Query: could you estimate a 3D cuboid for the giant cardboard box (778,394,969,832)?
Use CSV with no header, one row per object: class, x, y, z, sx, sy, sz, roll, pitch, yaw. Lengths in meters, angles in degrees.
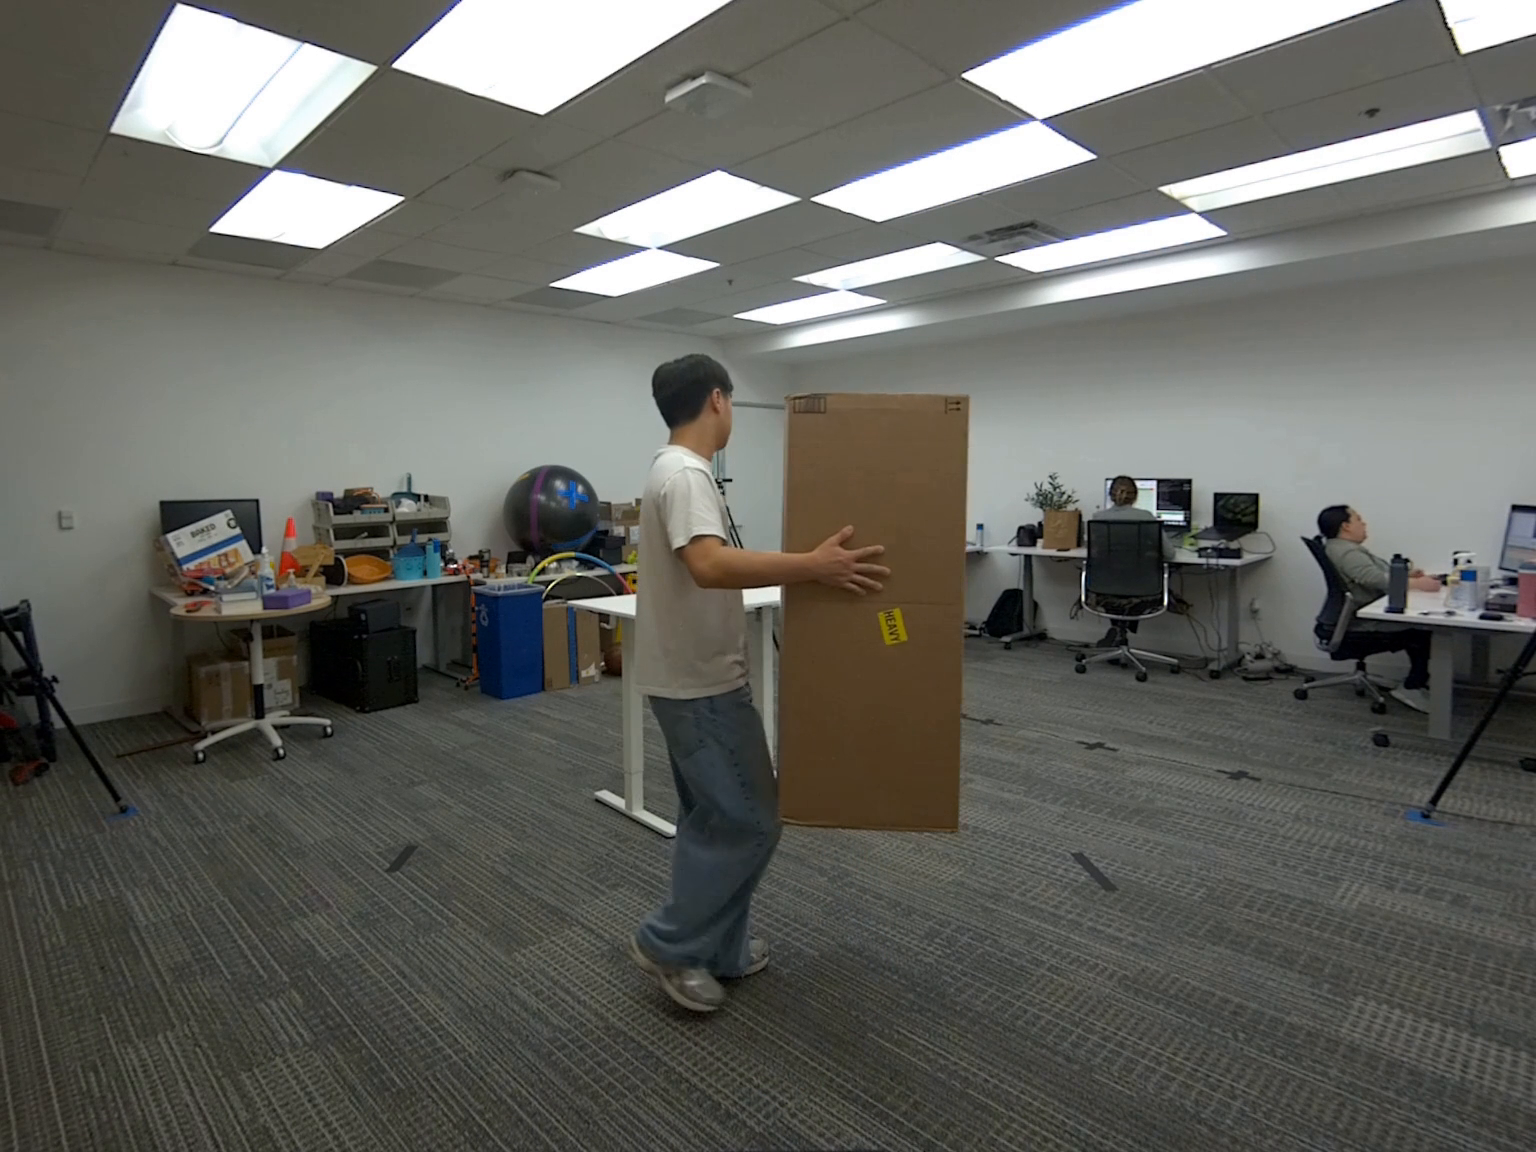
giant cardboard box,0.266,0.058,2.279,0.427,1.024,0.577,0,2,2
